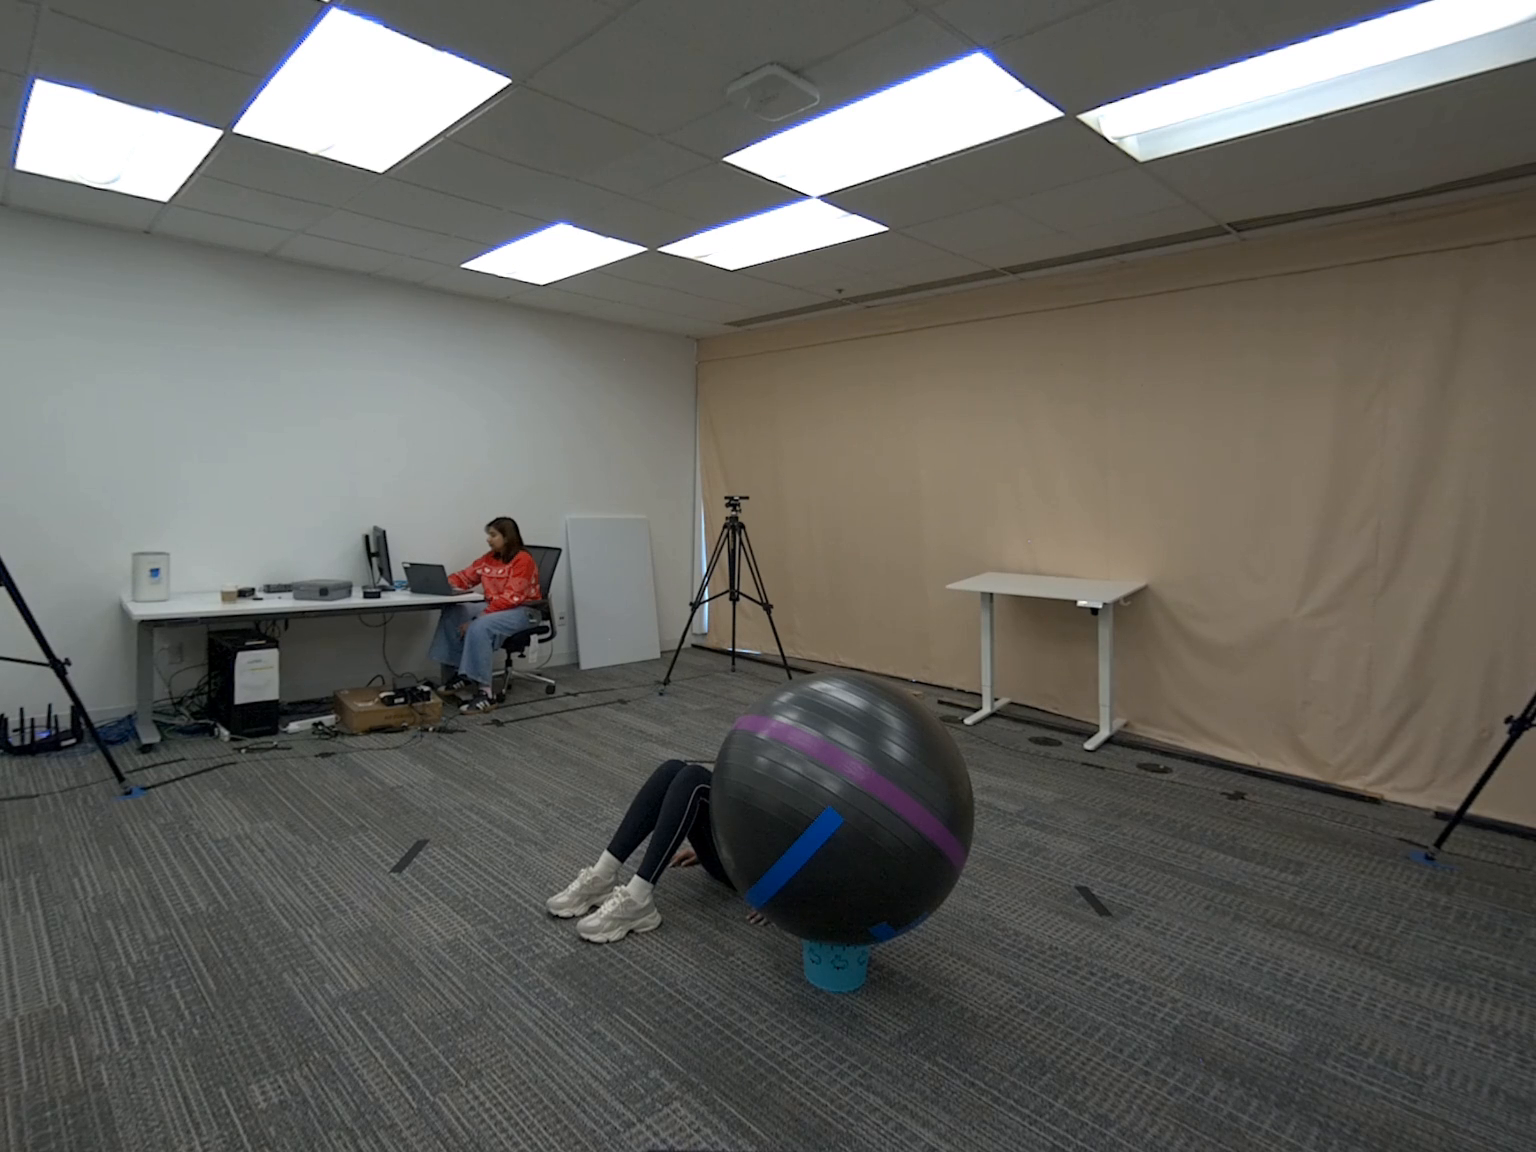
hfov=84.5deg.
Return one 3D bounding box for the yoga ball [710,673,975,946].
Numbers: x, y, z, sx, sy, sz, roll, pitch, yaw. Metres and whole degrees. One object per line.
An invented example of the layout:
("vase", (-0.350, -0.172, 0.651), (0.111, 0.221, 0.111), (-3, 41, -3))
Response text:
("yoga ball", (0.214, 0.666, 2.448), (0.757, 0.754, 0.762), (0, 7, -1))
